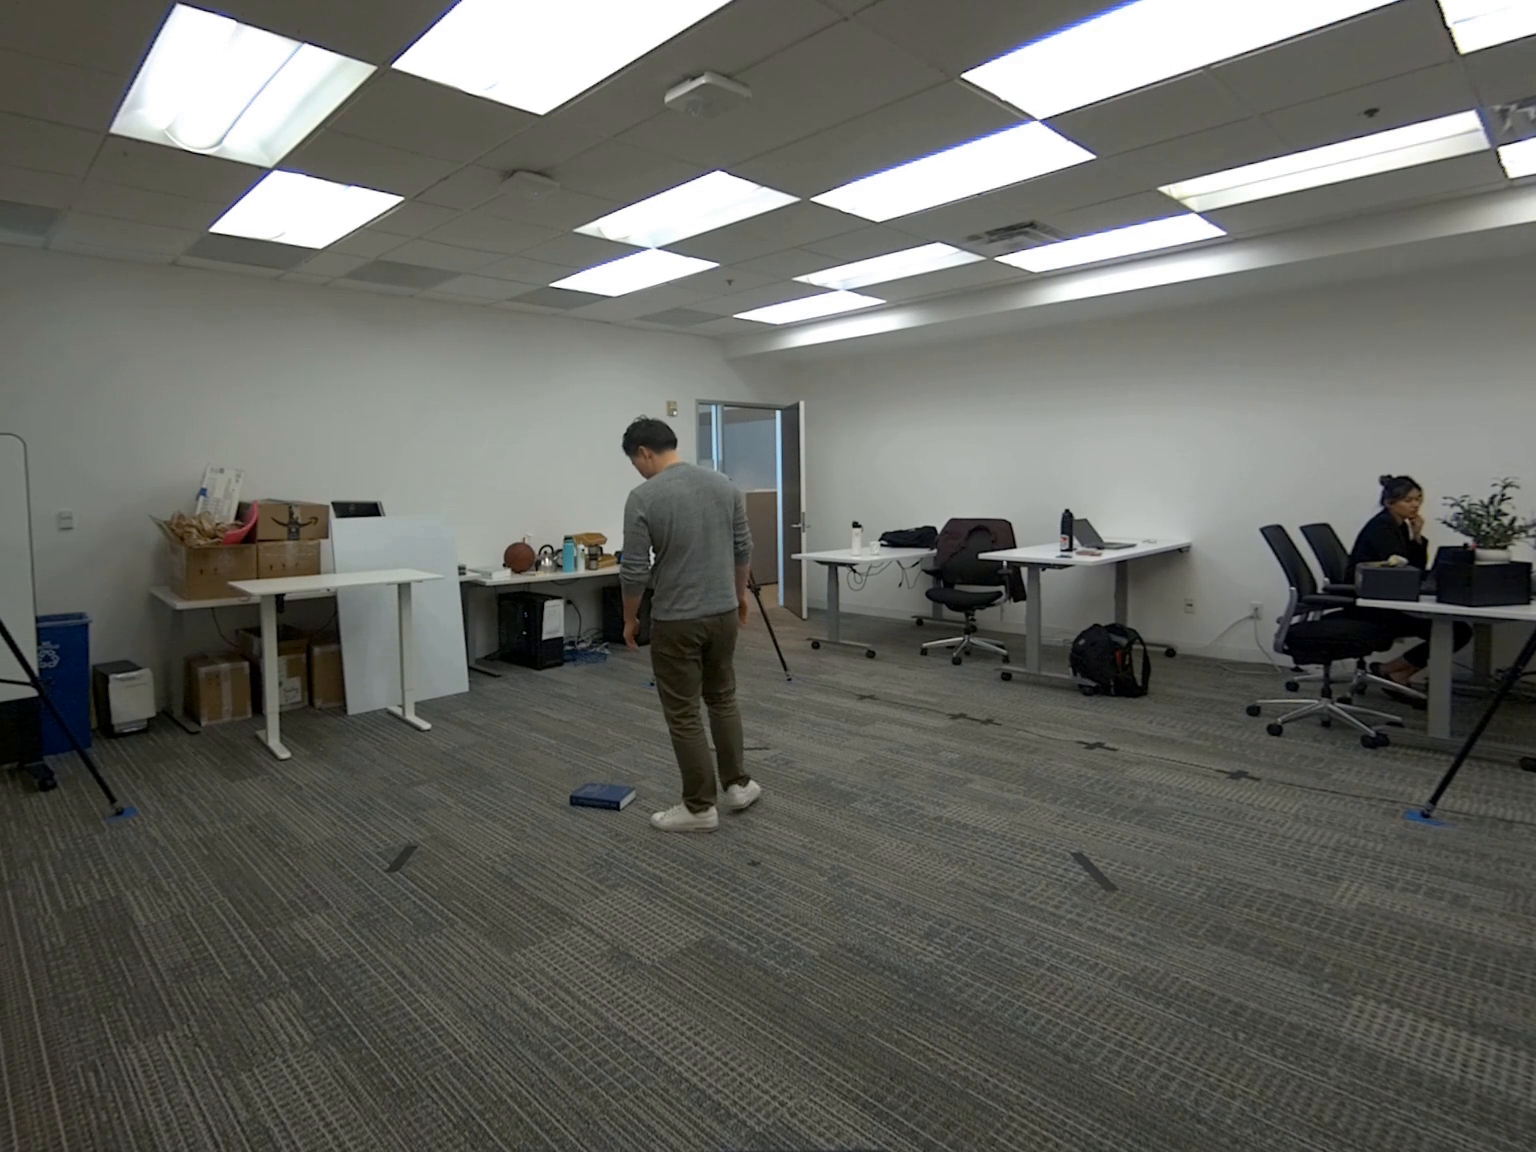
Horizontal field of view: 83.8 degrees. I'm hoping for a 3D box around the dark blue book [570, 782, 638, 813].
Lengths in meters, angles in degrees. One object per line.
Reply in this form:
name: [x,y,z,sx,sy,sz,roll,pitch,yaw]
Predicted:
dark blue book: [-0.717,0.963,3.741,0.249,0.045,0.161,1,6,18]
